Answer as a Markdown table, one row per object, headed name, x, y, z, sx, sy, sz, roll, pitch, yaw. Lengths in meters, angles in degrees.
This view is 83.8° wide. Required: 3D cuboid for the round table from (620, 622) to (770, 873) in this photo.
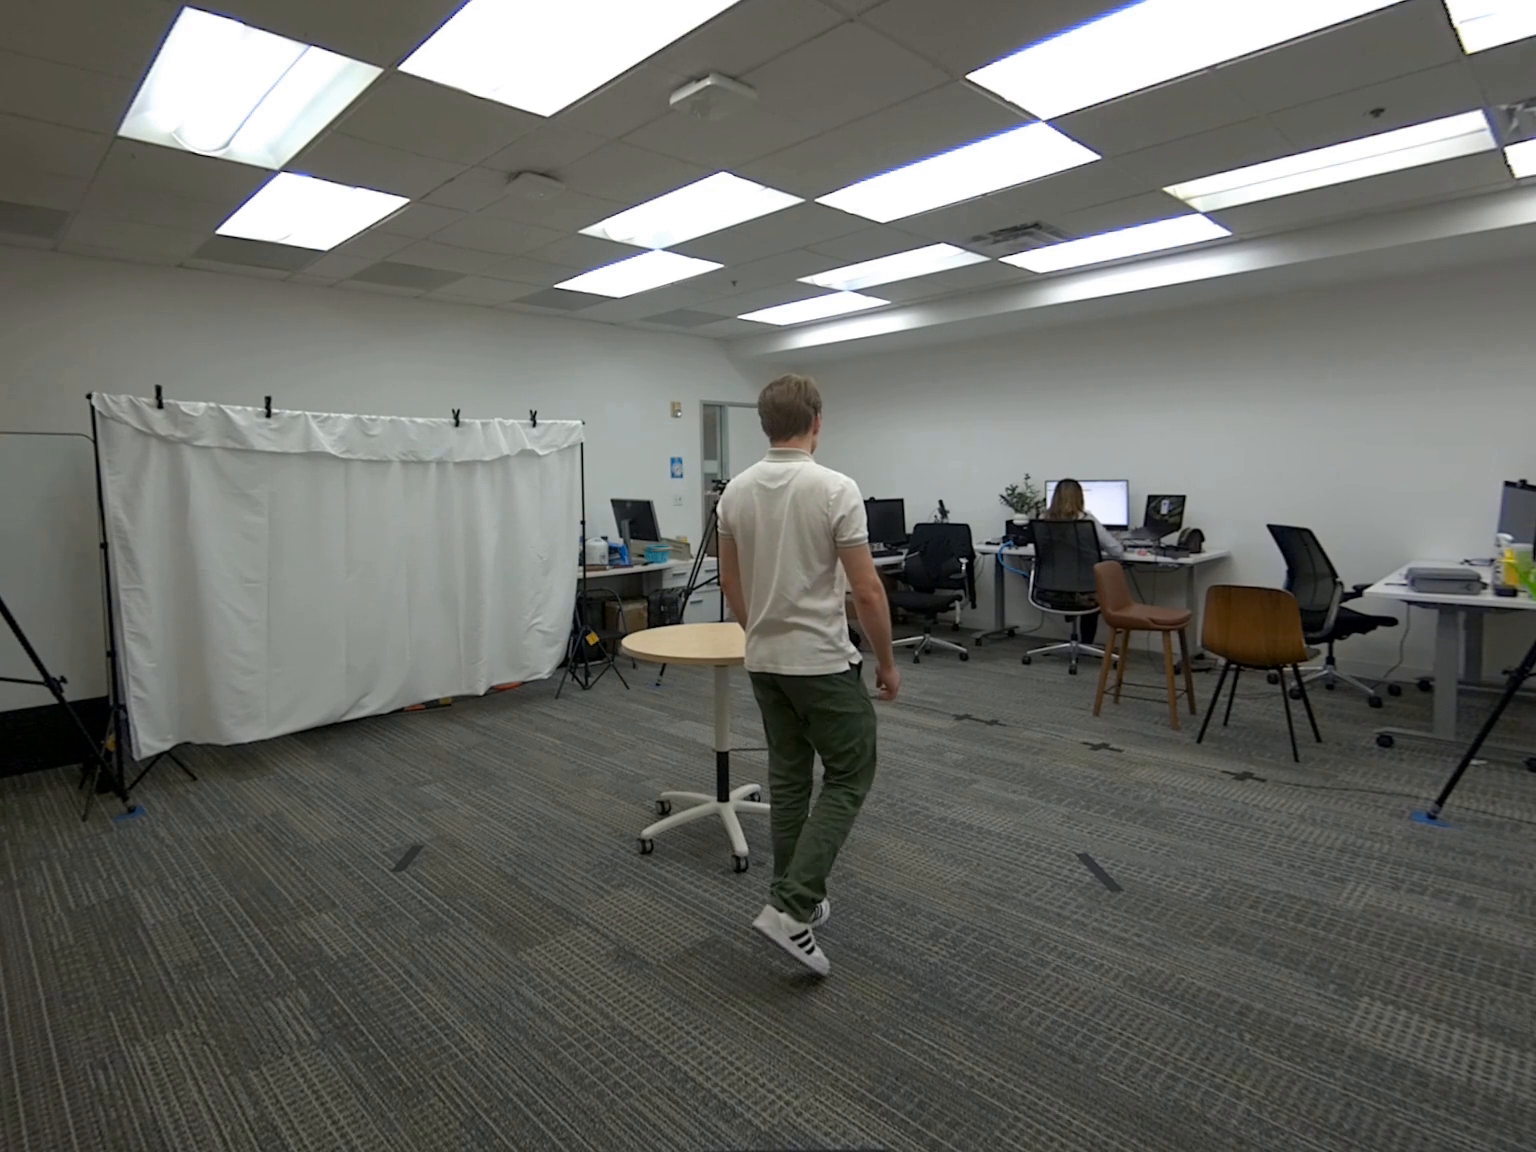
| name | x | y | z | sx | sy | sz | roll | pitch | yaw |
| --- | --- | --- | --- | --- | --- | --- | --- | --- | --- |
| round table | -0.180 | 0.636 | 3.341 | 0.763 | 0.791 | 0.767 | -1 | 4 | -2 |
